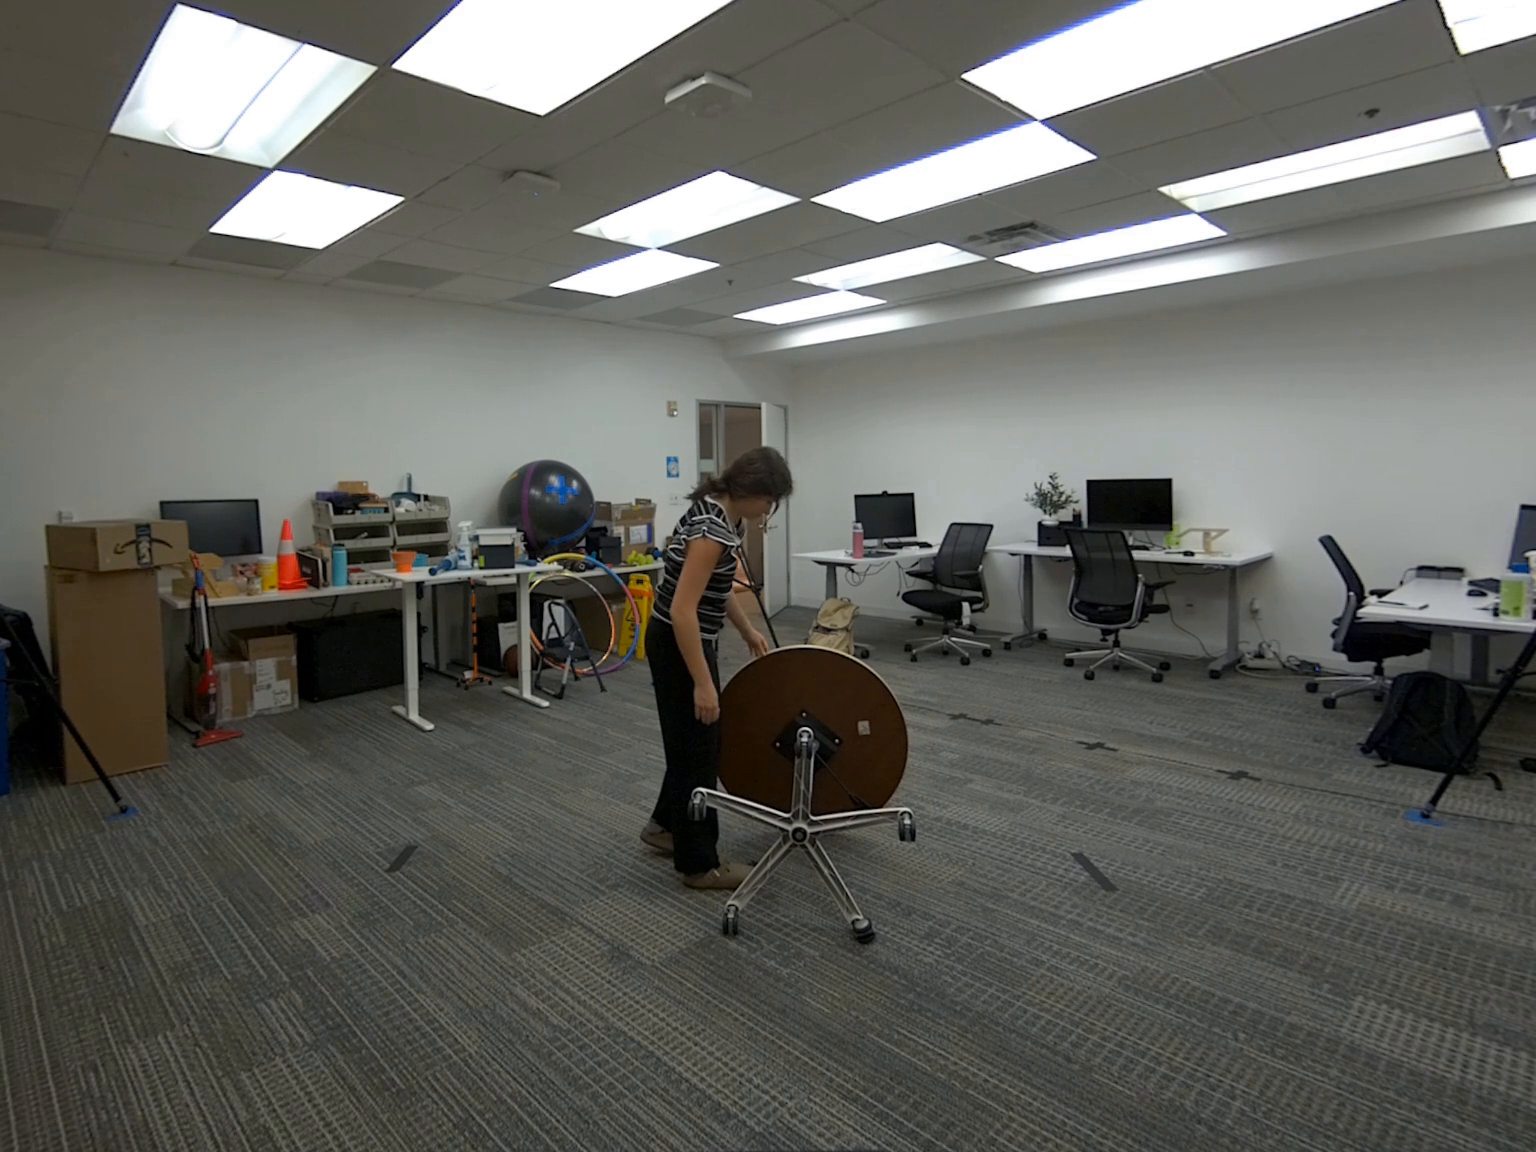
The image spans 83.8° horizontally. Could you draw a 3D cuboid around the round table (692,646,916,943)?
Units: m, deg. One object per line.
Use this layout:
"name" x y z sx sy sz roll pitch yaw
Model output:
"round table" 0.128 0.734 2.915 0.769 0.756 0.797 0 11 6
